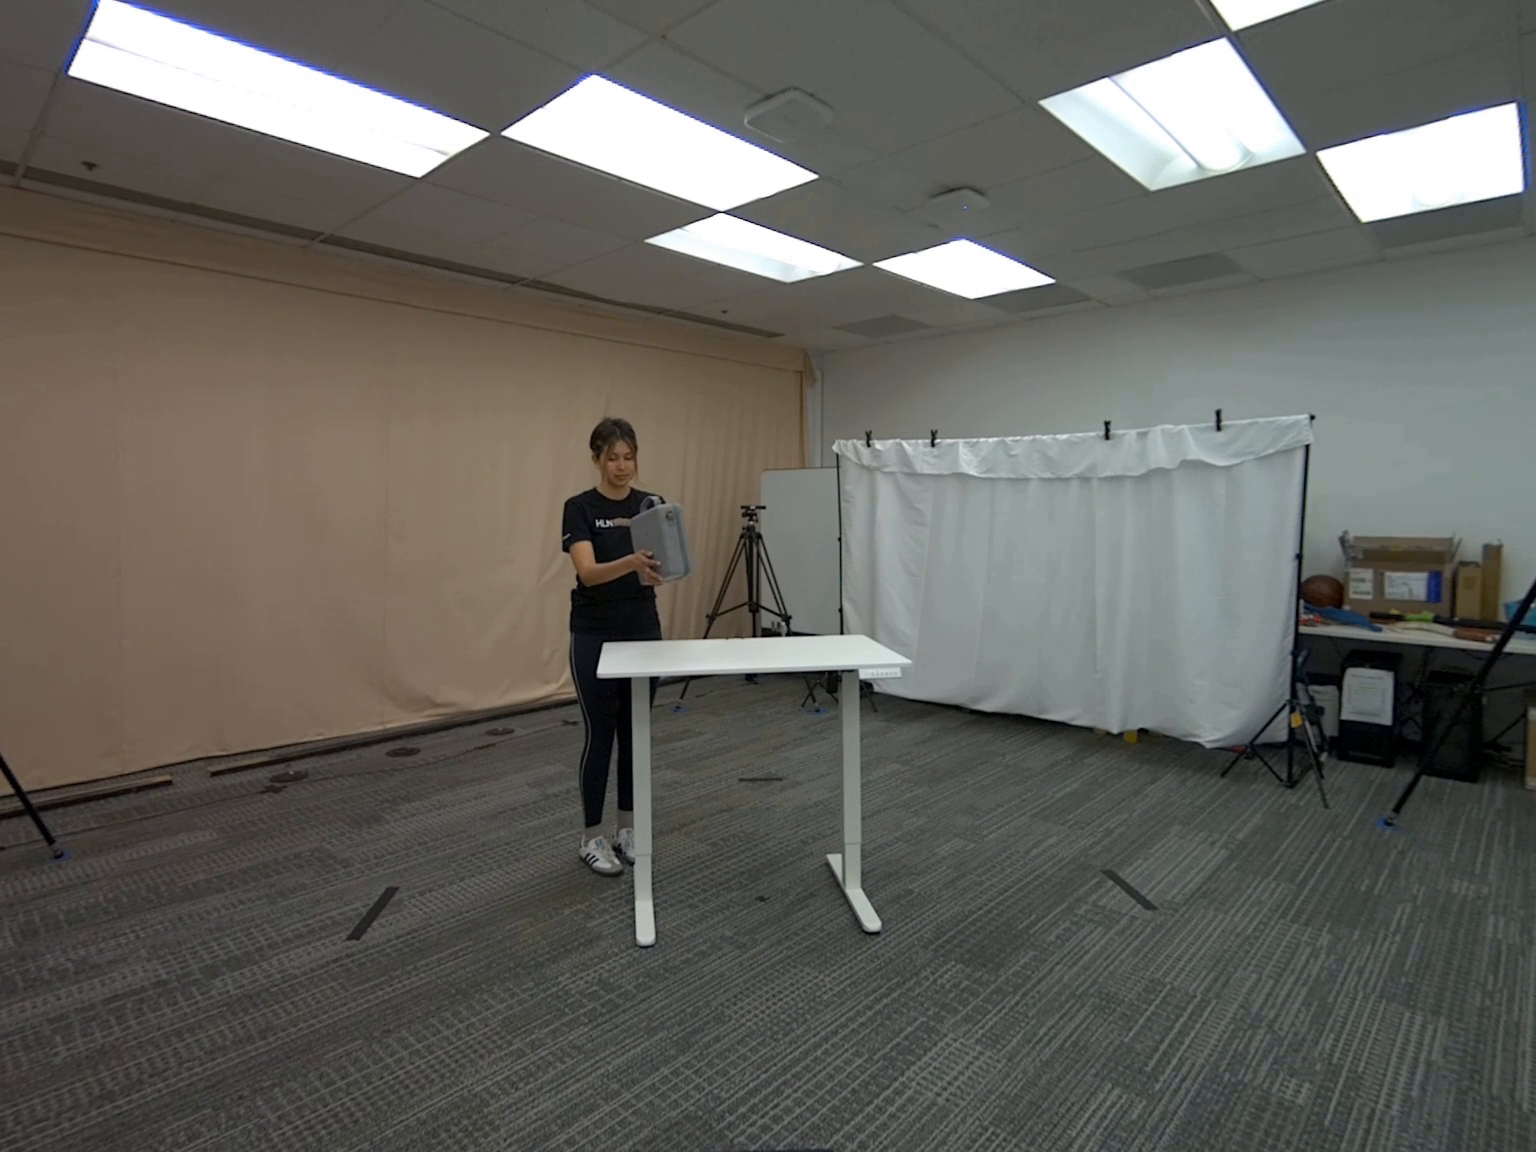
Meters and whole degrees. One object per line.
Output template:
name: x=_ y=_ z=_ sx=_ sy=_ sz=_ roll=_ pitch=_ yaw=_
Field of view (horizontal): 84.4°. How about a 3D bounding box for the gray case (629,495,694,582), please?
gray case: x=-0.372 y=-0.106 z=2.904 sx=0.101 sy=0.262 sz=0.263 roll=-6 pitch=-7 yaw=-34
